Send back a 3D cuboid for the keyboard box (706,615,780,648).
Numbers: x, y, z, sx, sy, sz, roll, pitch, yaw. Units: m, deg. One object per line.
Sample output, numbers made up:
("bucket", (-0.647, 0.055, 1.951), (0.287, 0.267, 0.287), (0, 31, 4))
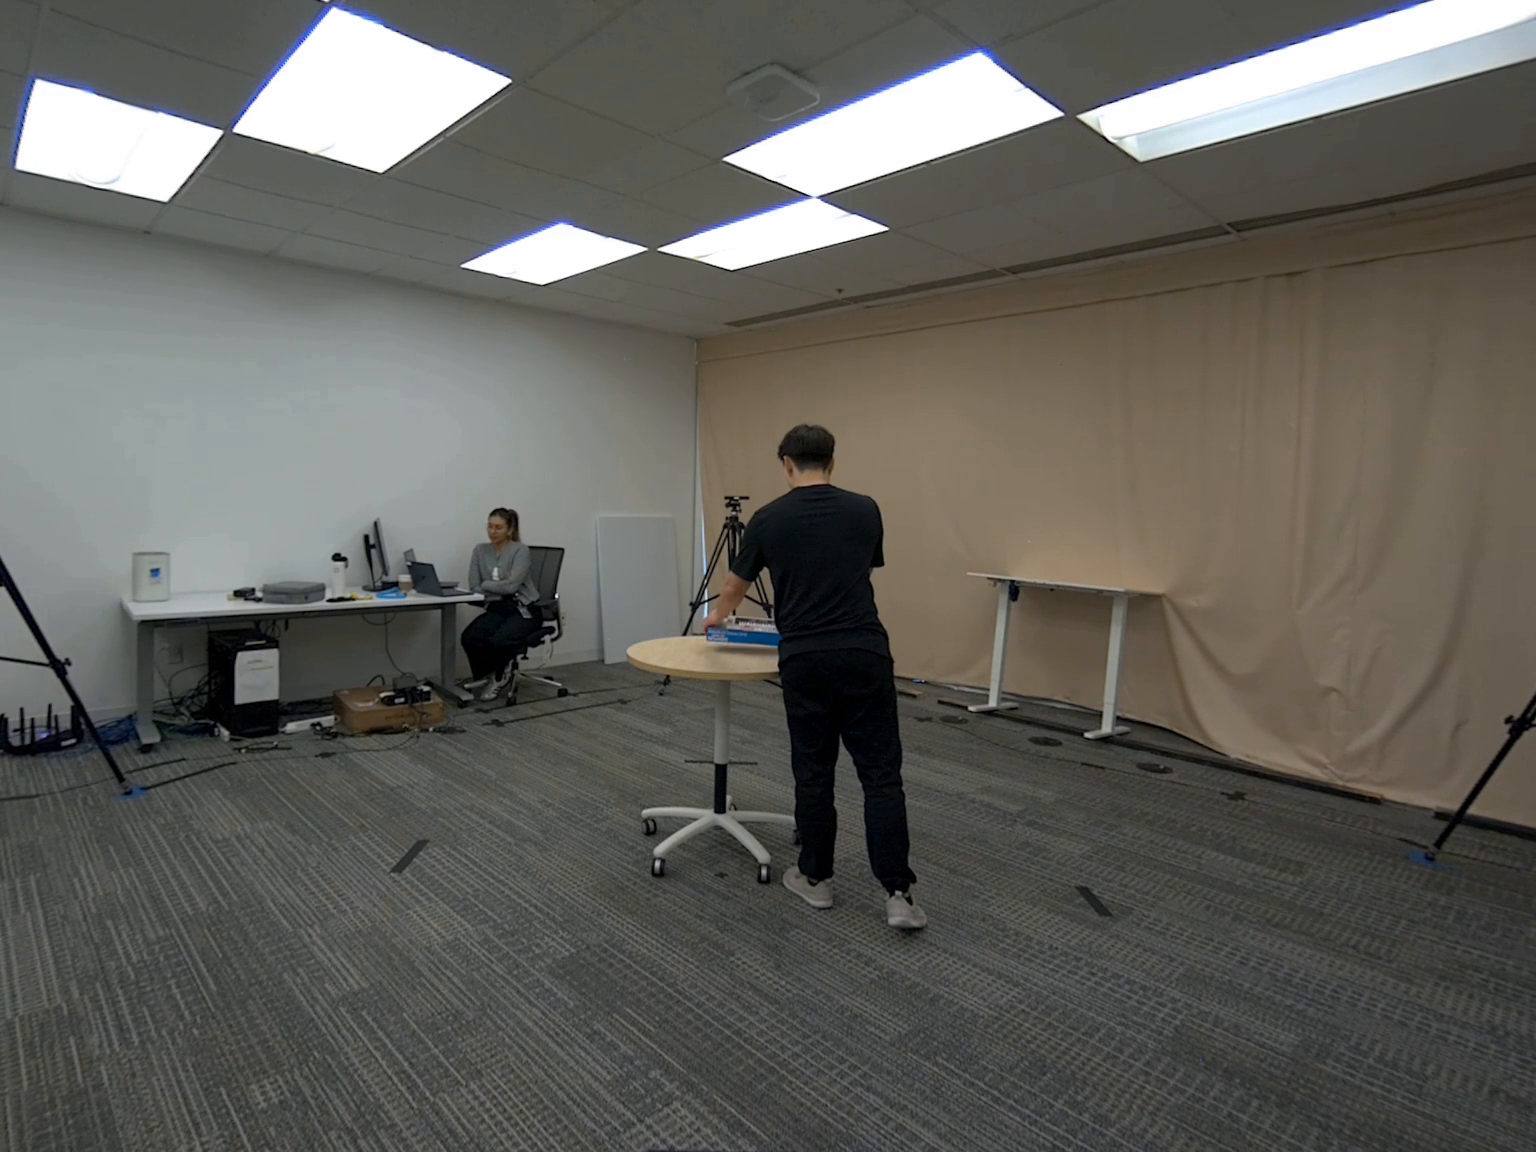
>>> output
("keyboard box", (-0.031, 0.220, 3.373), (0.437, 0.058, 0.177), (4, 14, 1))
